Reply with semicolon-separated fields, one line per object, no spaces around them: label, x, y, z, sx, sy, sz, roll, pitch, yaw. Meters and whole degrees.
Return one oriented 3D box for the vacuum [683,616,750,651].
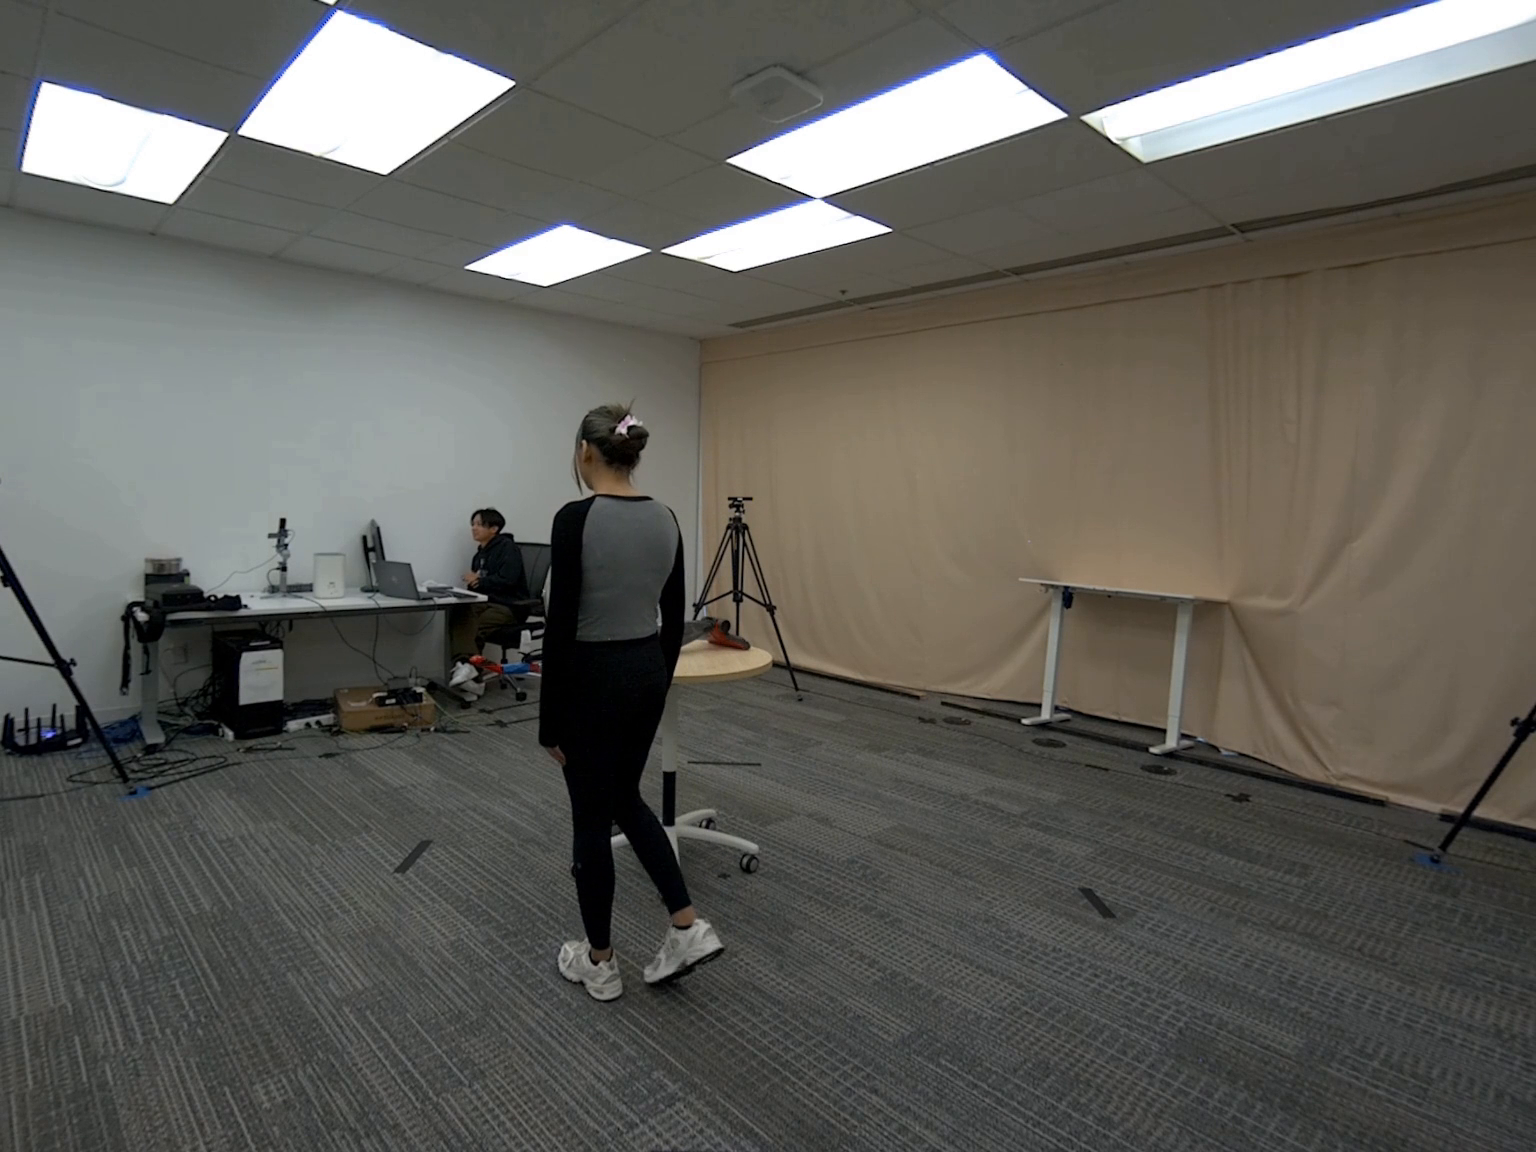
vacuum;-0.568;0.259;3.063;1.025;0.143;0.259;-3;6;-43
